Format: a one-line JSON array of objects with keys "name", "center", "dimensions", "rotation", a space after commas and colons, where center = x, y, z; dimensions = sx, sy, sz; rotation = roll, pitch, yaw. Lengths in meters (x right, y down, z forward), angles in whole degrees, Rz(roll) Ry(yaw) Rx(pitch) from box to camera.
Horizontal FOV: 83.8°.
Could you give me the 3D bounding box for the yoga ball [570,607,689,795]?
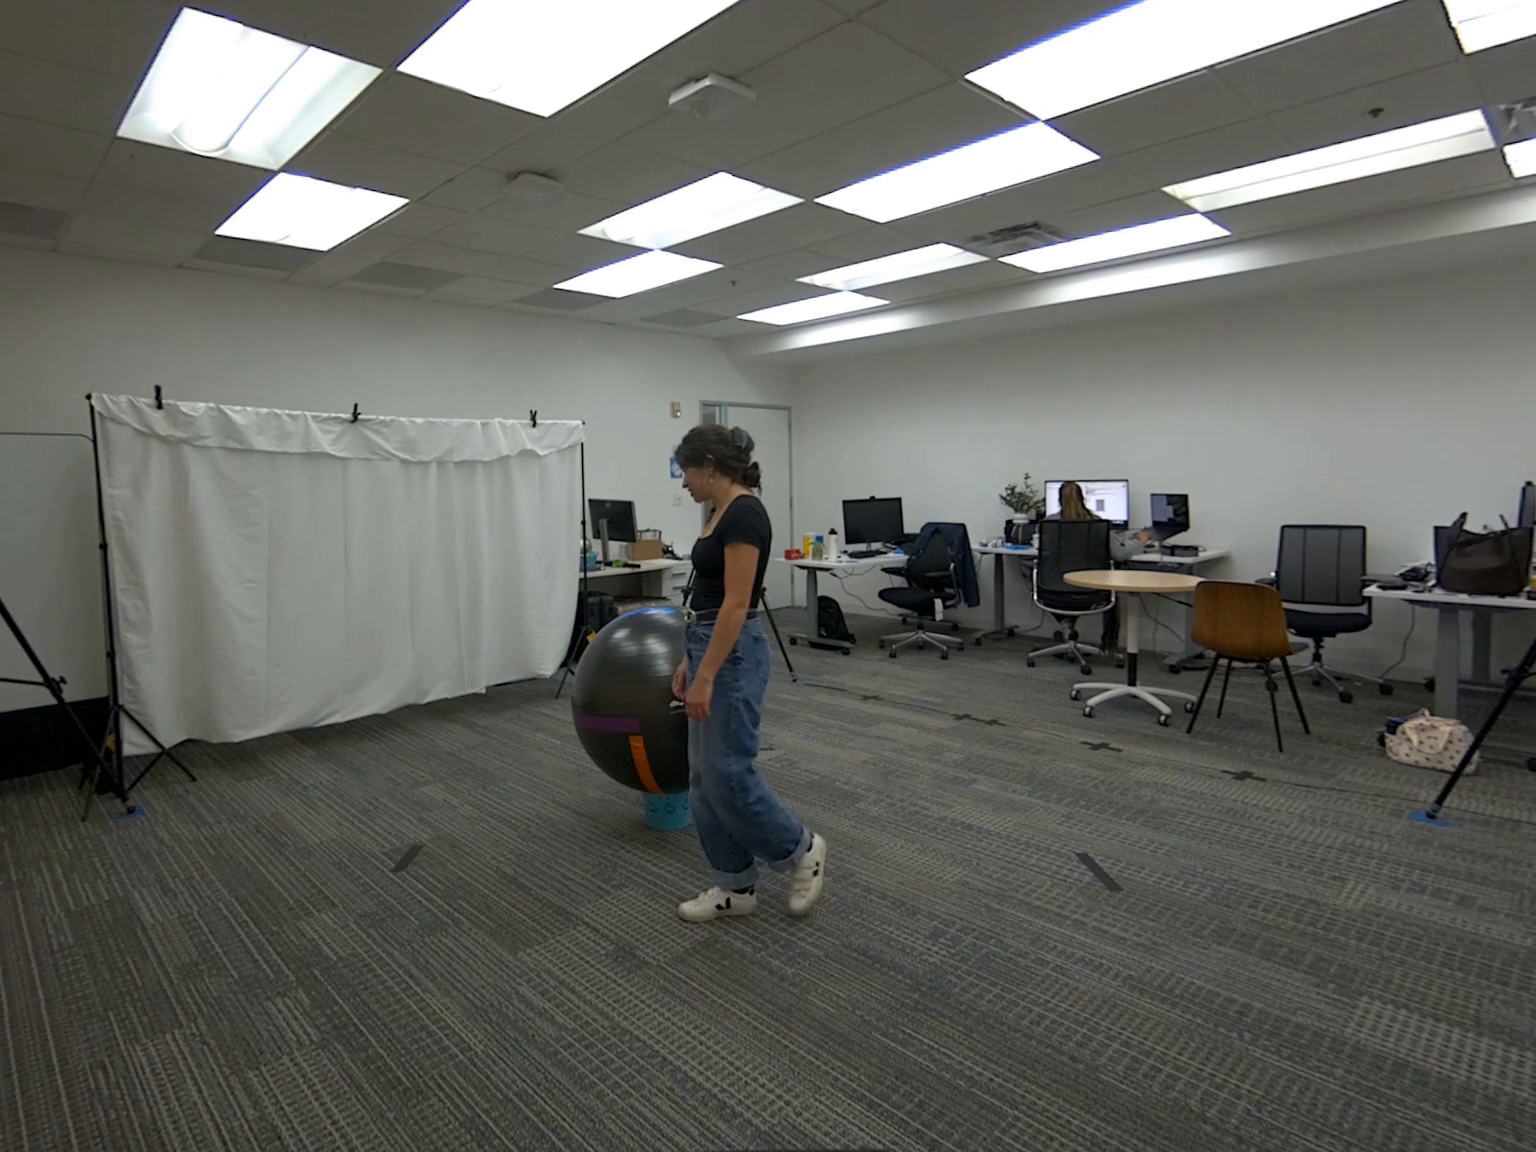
[{"name": "yoga ball", "center": [-0.425, 0.496, 3.493], "dimensions": [0.757, 0.755, 0.762], "rotation": [-1, 5, -2]}]
